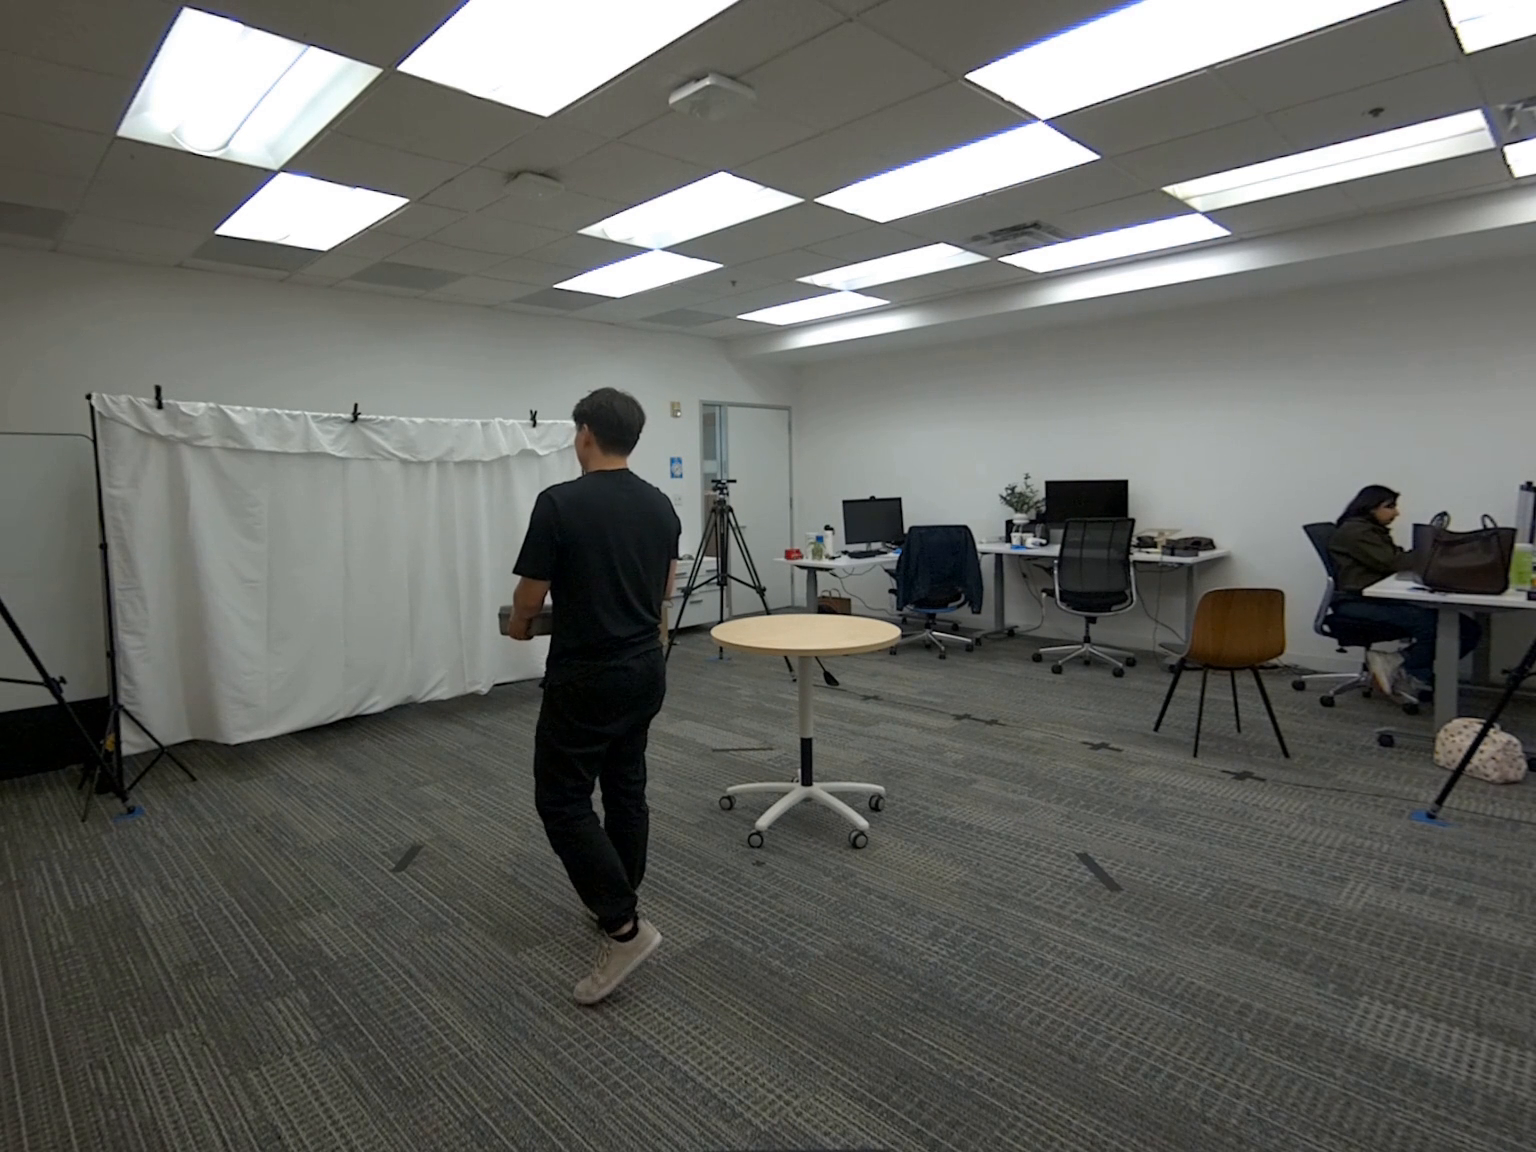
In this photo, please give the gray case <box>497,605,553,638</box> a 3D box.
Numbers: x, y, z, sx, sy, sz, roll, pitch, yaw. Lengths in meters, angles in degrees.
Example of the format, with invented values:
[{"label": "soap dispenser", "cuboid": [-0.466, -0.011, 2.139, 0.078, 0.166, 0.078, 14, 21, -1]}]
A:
[{"label": "gray case", "cuboid": [-0.707, 0.140, 2.796, 0.268, 0.104, 0.249, -1, -2, 44]}]
